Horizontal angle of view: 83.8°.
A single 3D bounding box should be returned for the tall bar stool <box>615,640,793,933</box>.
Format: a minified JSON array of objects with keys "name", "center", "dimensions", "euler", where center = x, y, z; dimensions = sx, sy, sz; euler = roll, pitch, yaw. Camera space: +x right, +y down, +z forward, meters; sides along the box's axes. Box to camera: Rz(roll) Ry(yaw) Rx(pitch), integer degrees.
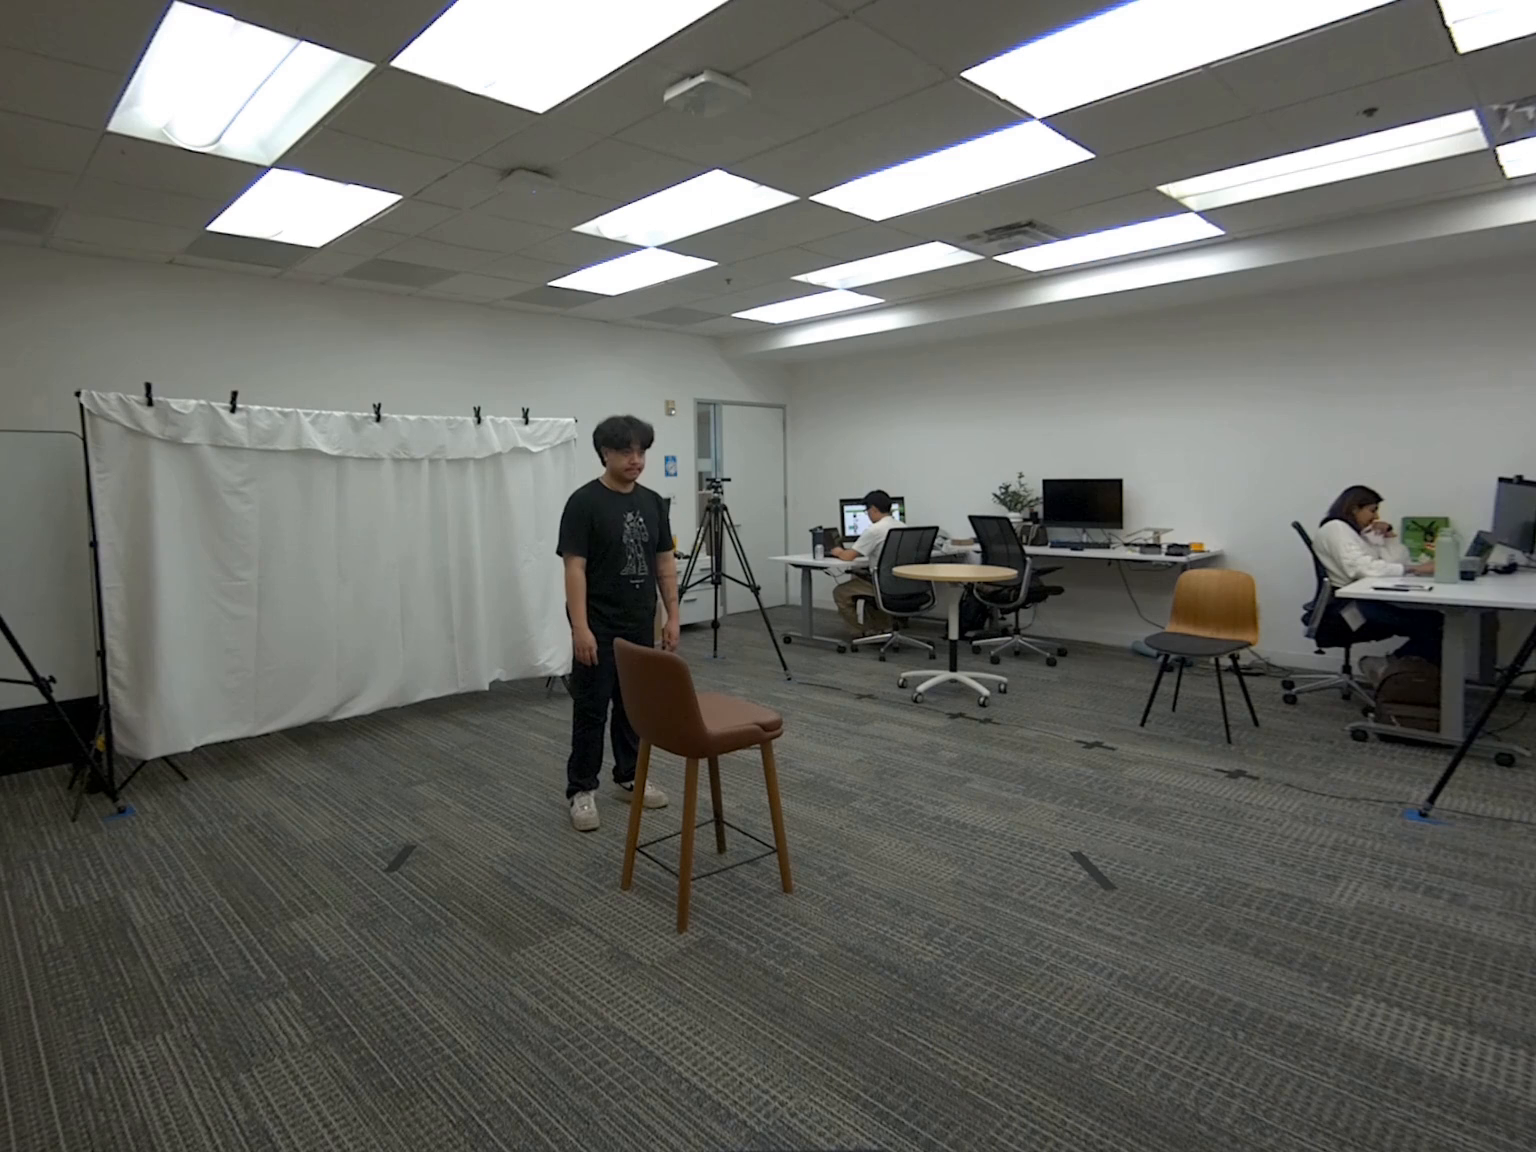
[{"name":"tall bar stool","center":[-0.224,0.636,2.882],"dimensions":[0.456,0.885,0.470],"euler":[-6,7,-37]}]
